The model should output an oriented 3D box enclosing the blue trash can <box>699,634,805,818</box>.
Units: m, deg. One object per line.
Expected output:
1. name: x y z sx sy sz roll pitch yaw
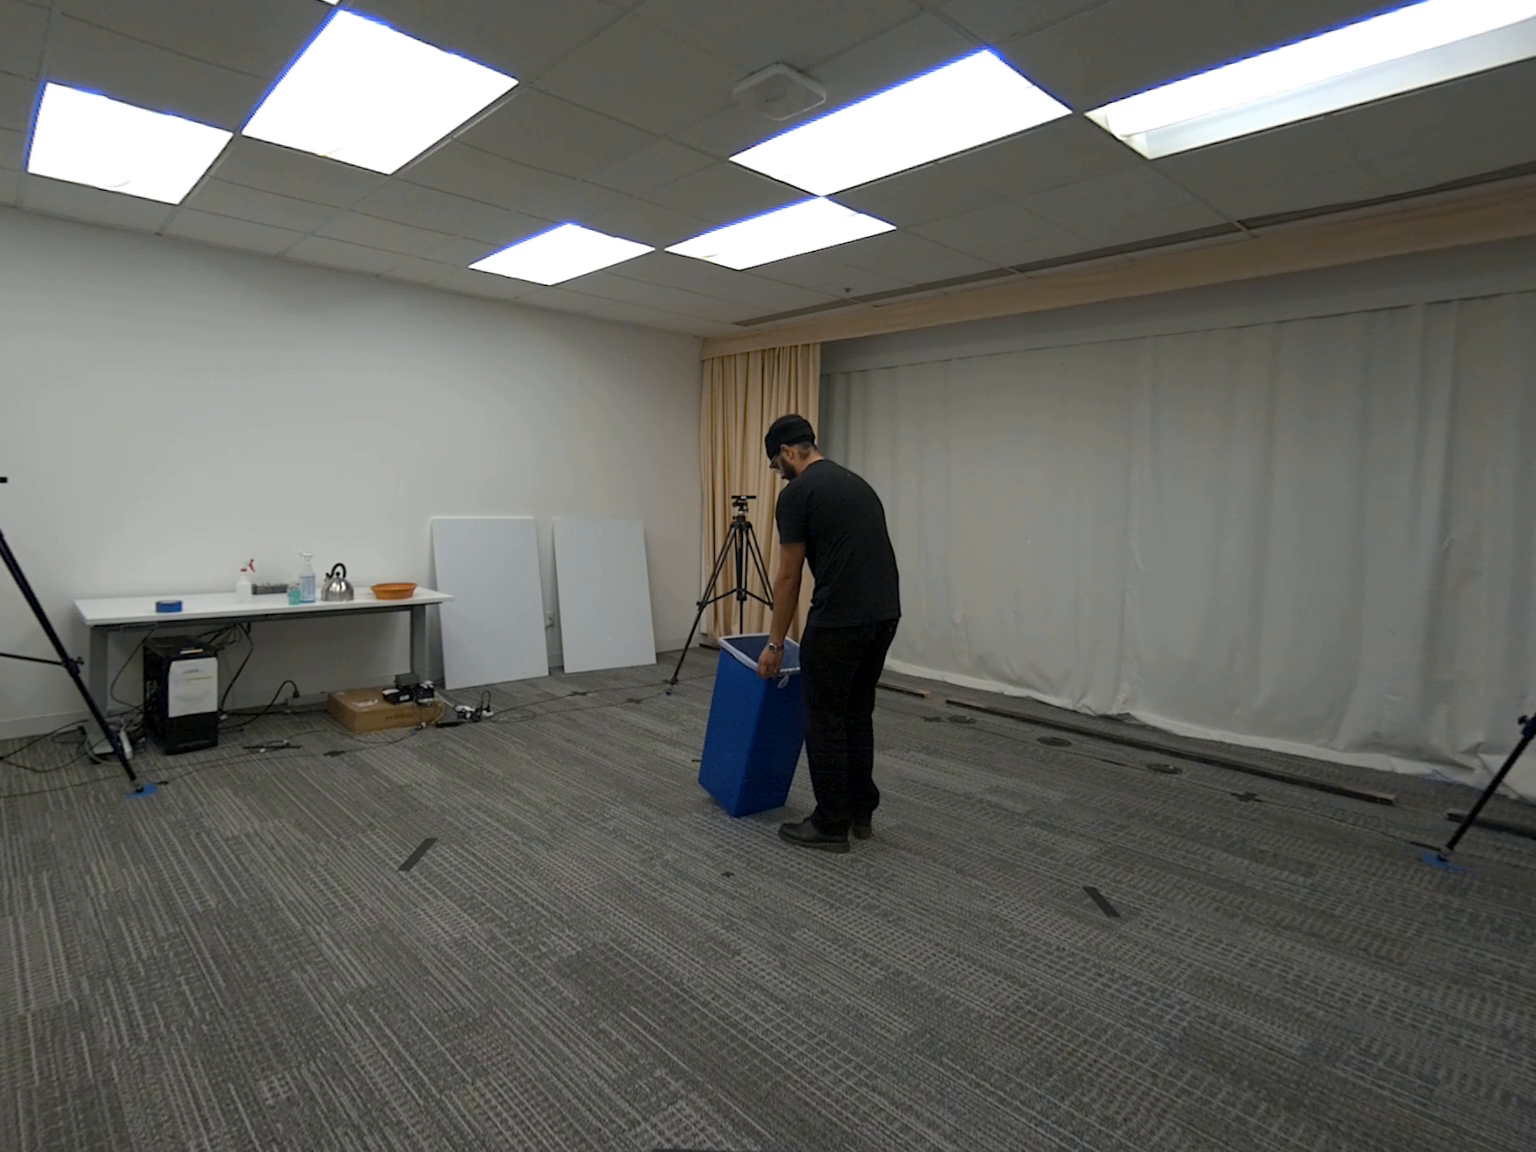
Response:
1. blue trash can: -0.049 0.661 3.753 0.369 0.707 0.386 -2 19 -40
